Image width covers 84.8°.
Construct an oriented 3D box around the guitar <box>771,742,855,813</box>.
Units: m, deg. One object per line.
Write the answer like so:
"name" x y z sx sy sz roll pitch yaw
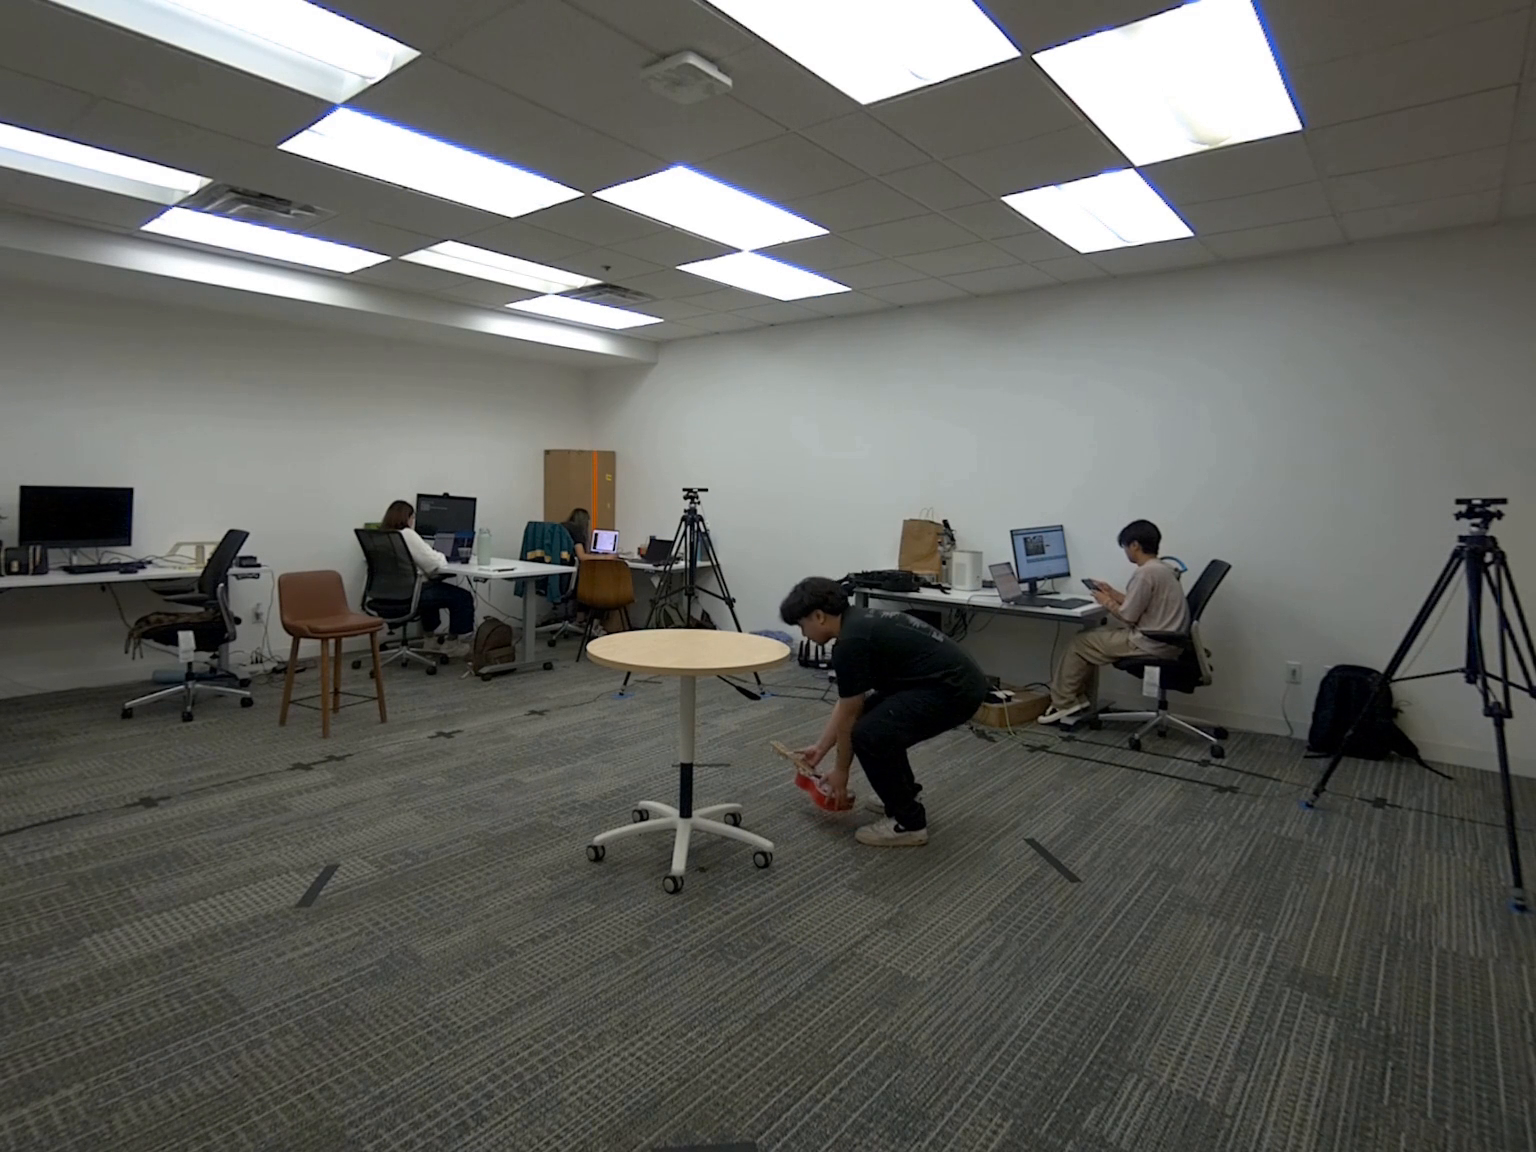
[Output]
"guitar" 0.187 0.862 3.732 0.187 0.070 0.517 9 11 -32
